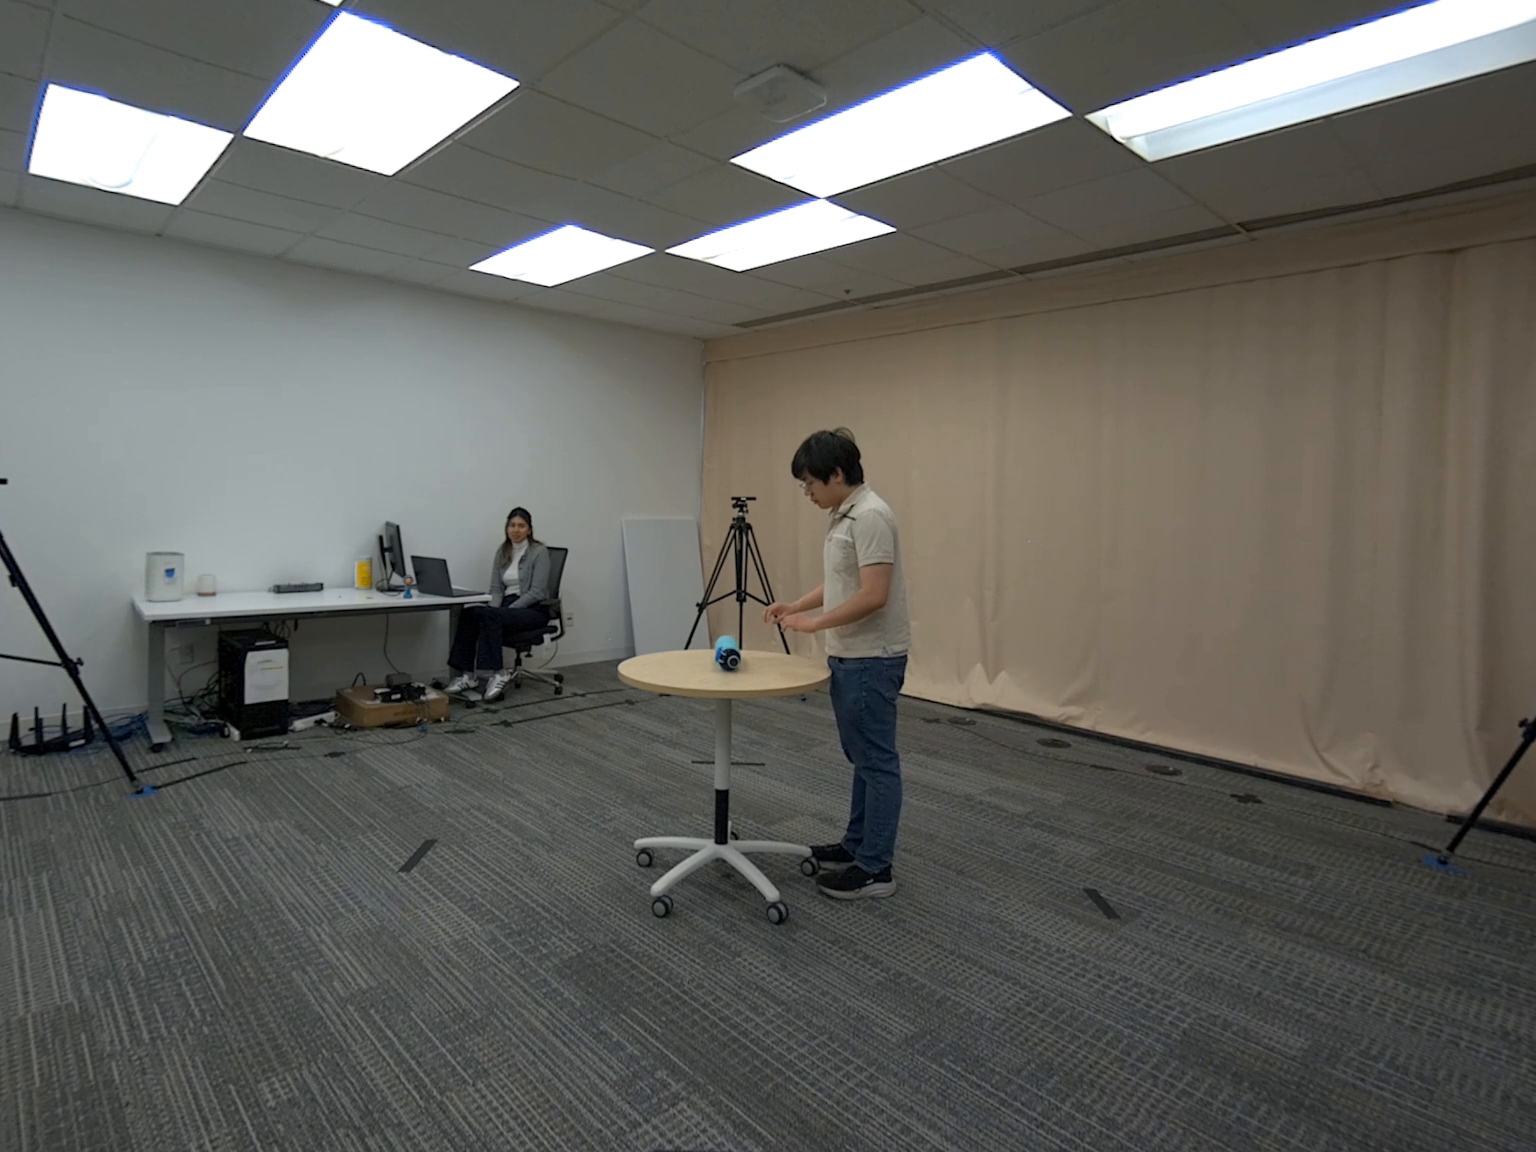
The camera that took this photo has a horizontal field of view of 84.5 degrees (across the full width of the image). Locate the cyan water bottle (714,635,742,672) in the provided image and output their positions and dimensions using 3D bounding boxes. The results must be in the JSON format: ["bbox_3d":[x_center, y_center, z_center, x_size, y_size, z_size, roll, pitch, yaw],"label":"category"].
[{"bbox_3d":[-0.150,0.281,3.065,0.092,0.092,0.285,1,5,-4],"label":"cyan water bottle"}]
